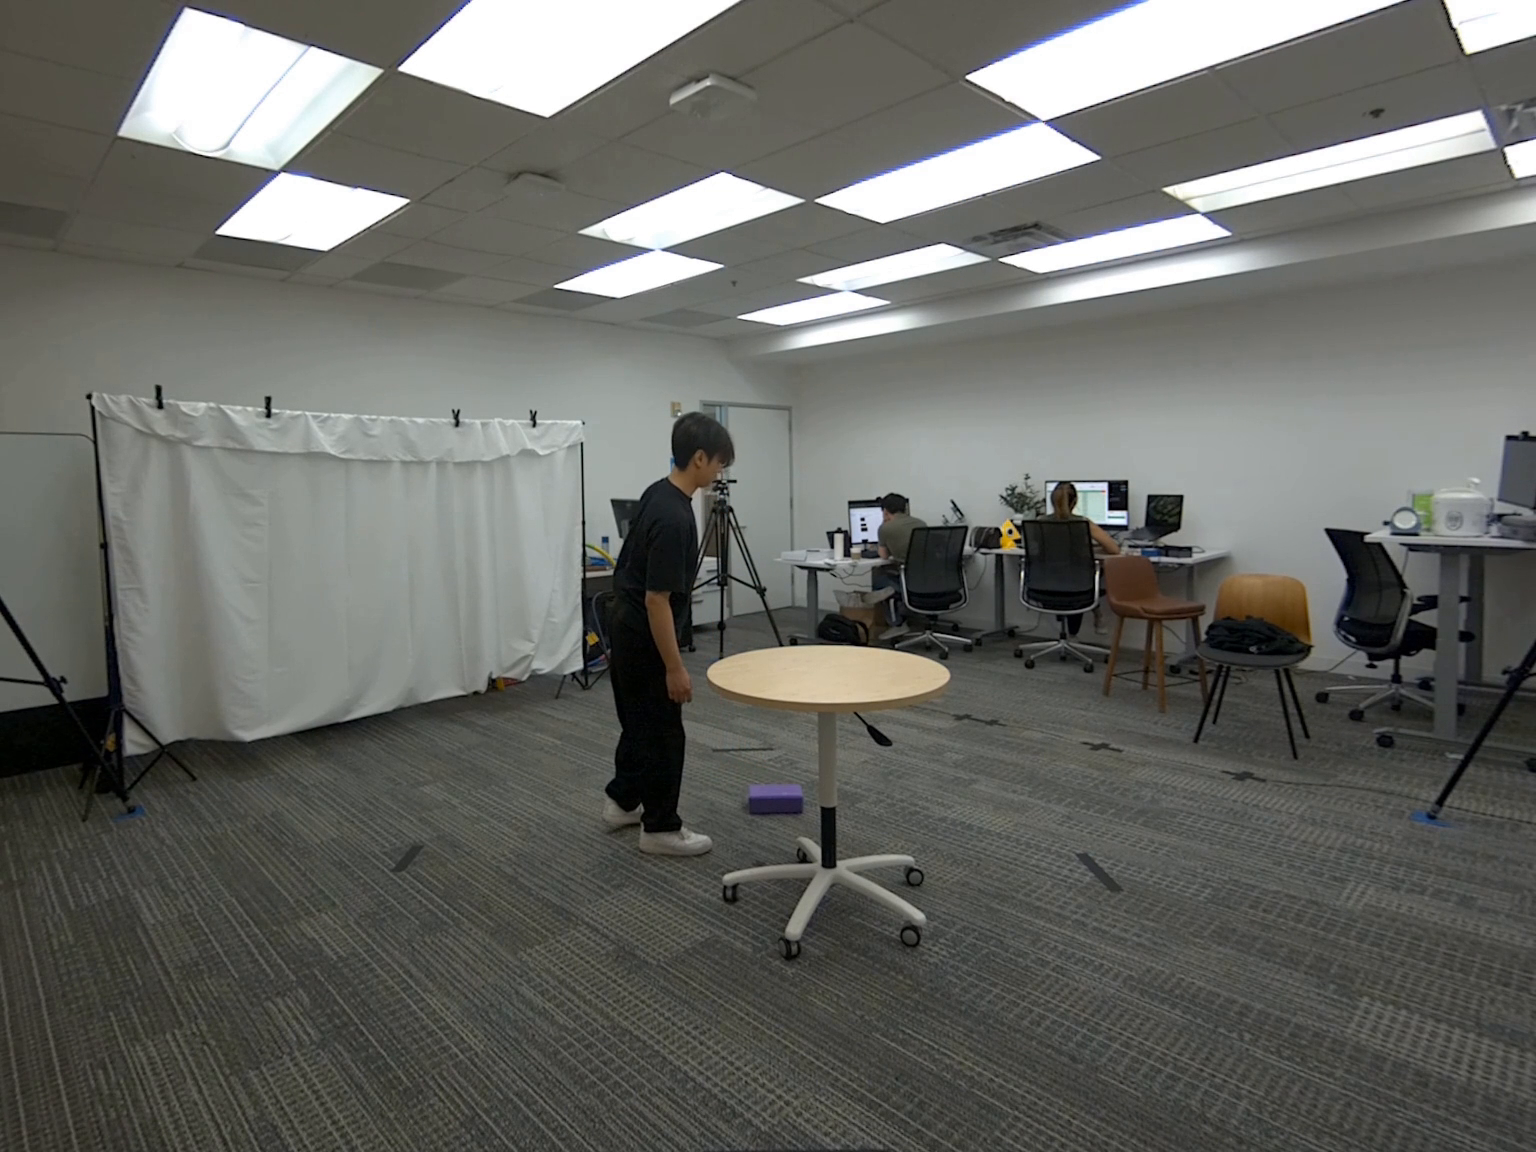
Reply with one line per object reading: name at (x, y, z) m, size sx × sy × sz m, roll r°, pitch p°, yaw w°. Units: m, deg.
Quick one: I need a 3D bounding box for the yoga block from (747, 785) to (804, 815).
yoga block at (0.034, 0.950, 3.640) m, size 0.229 × 0.076 × 0.150 m, roll -1°, pitch 6°, yaw 0°
